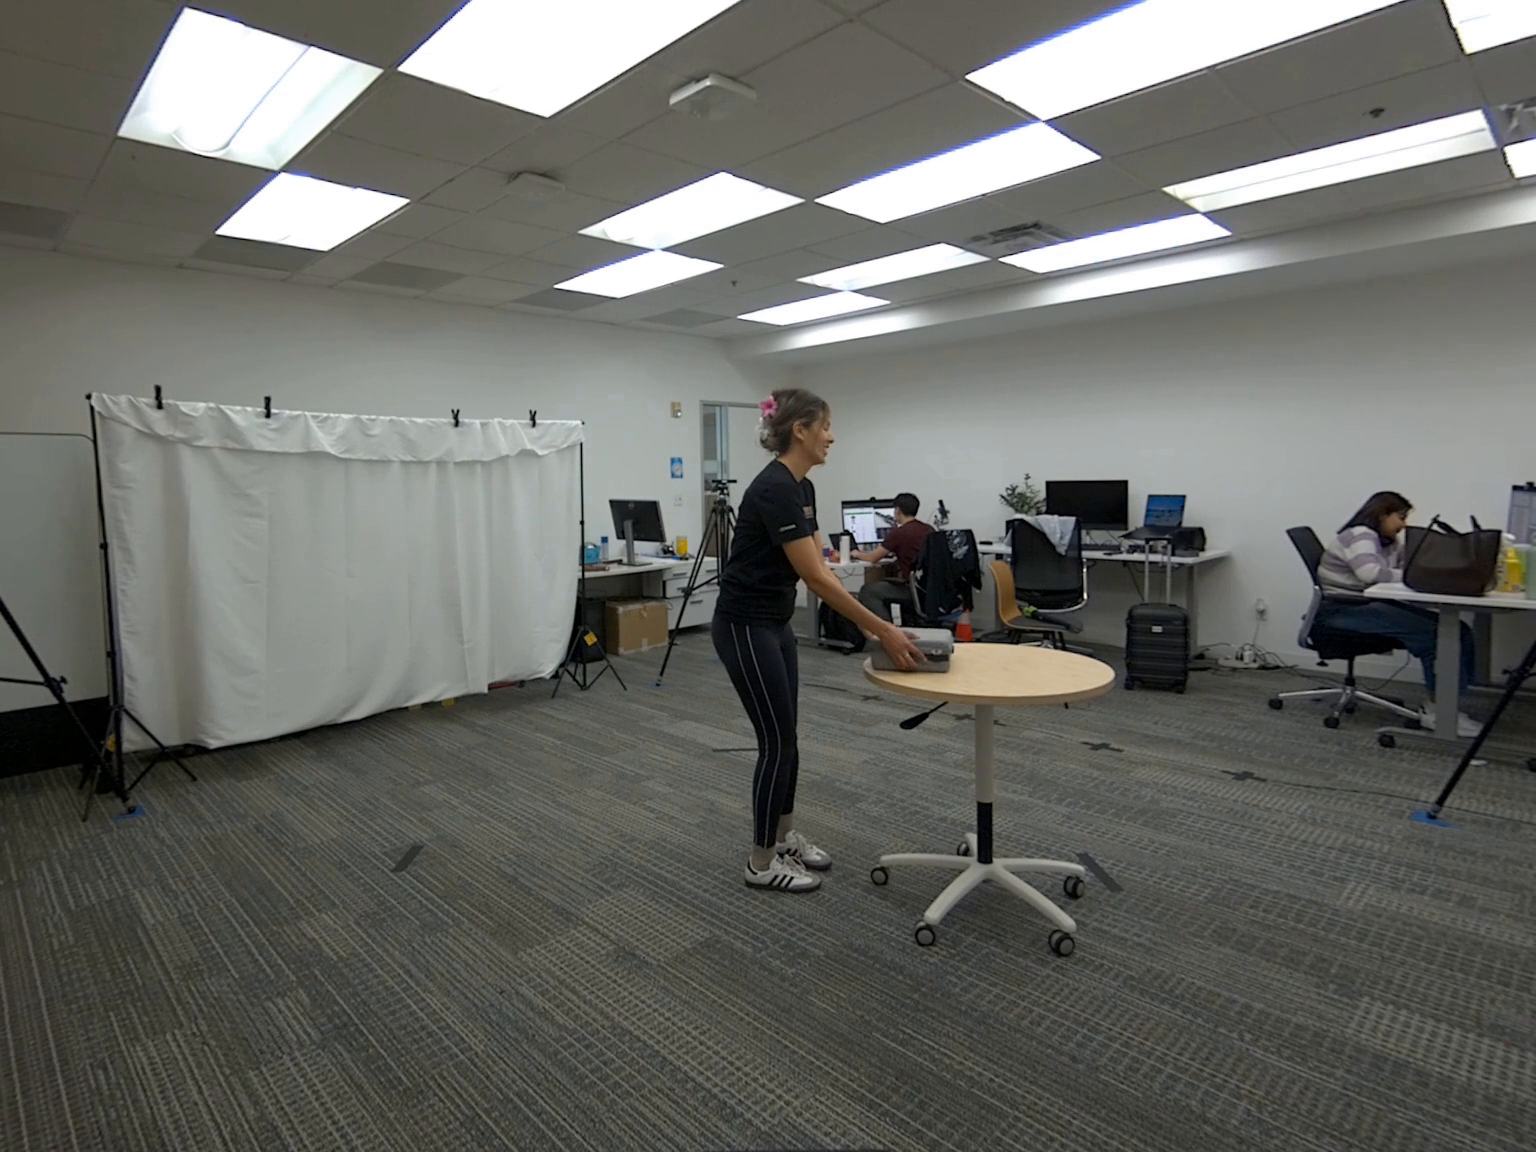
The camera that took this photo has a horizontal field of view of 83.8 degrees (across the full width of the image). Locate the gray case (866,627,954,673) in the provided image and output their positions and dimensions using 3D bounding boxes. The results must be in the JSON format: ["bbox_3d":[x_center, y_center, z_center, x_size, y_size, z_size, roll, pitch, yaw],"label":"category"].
[{"bbox_3d":[0.464,0.236,2.809,0.261,0.104,0.258,-1,5,16],"label":"gray case"}]
